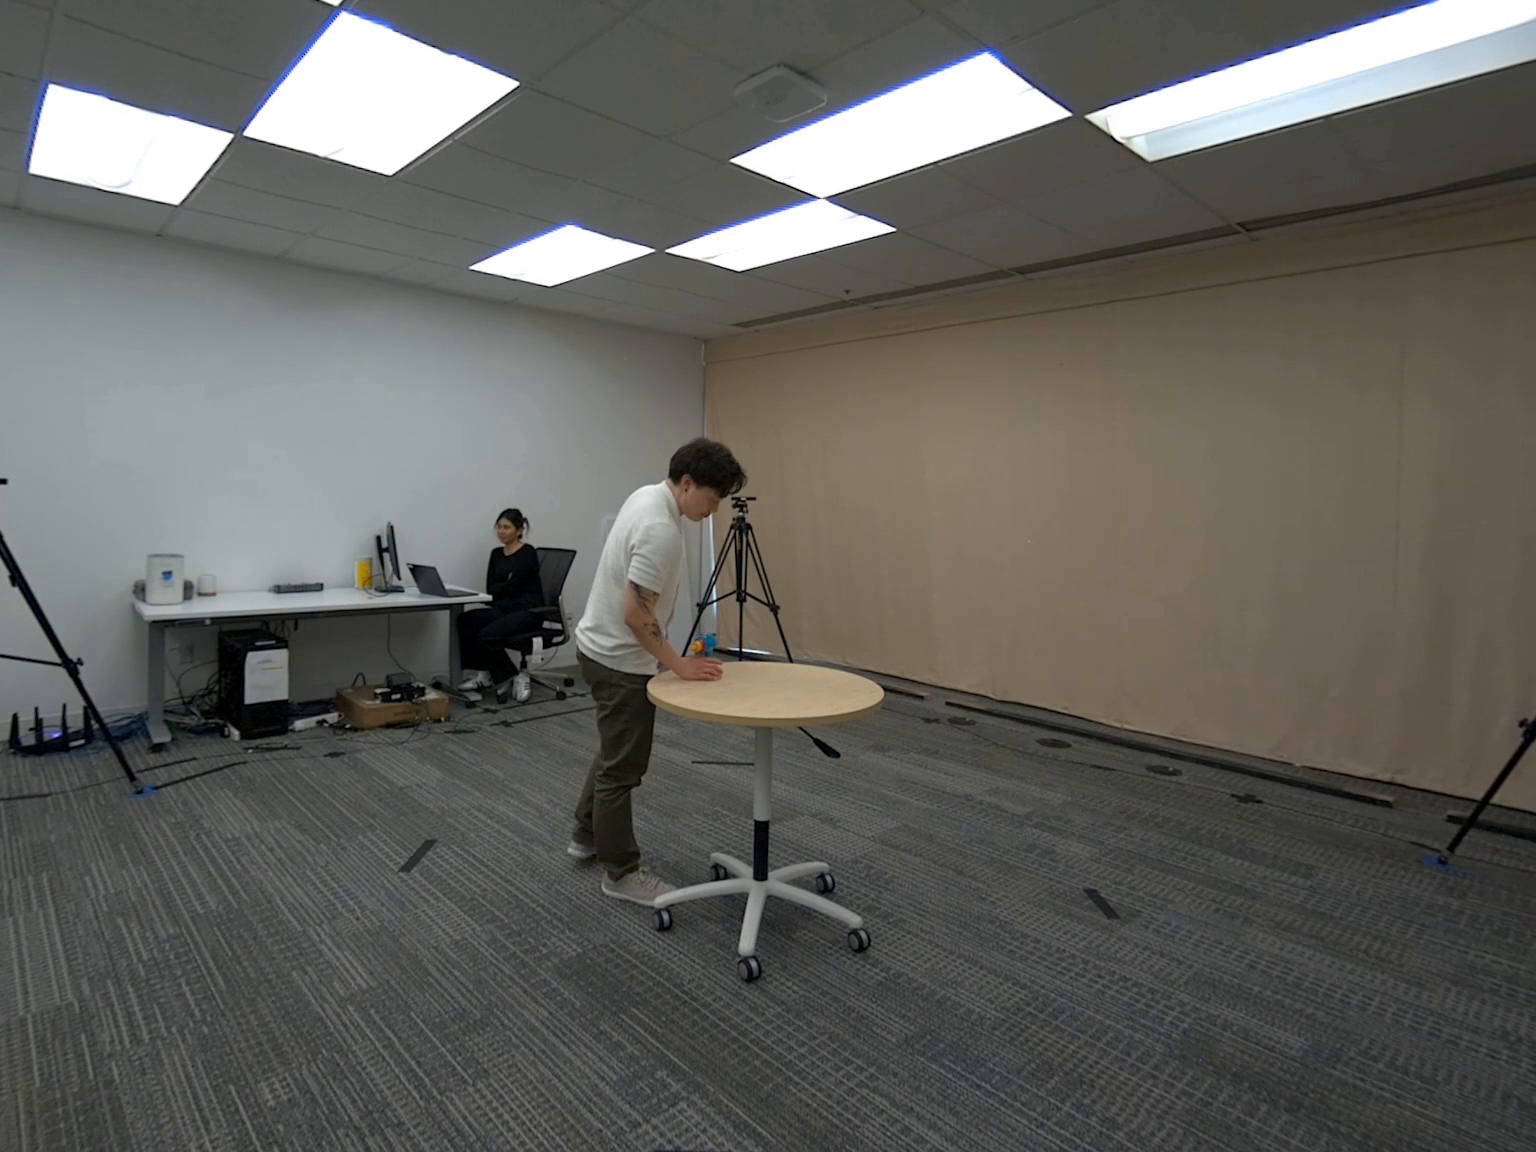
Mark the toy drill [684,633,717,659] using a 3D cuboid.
[{"bbox_3d":[-0.224,0.267,2.824,0.062,0.145,0.167,5,5,19],"label":"toy drill"}]
